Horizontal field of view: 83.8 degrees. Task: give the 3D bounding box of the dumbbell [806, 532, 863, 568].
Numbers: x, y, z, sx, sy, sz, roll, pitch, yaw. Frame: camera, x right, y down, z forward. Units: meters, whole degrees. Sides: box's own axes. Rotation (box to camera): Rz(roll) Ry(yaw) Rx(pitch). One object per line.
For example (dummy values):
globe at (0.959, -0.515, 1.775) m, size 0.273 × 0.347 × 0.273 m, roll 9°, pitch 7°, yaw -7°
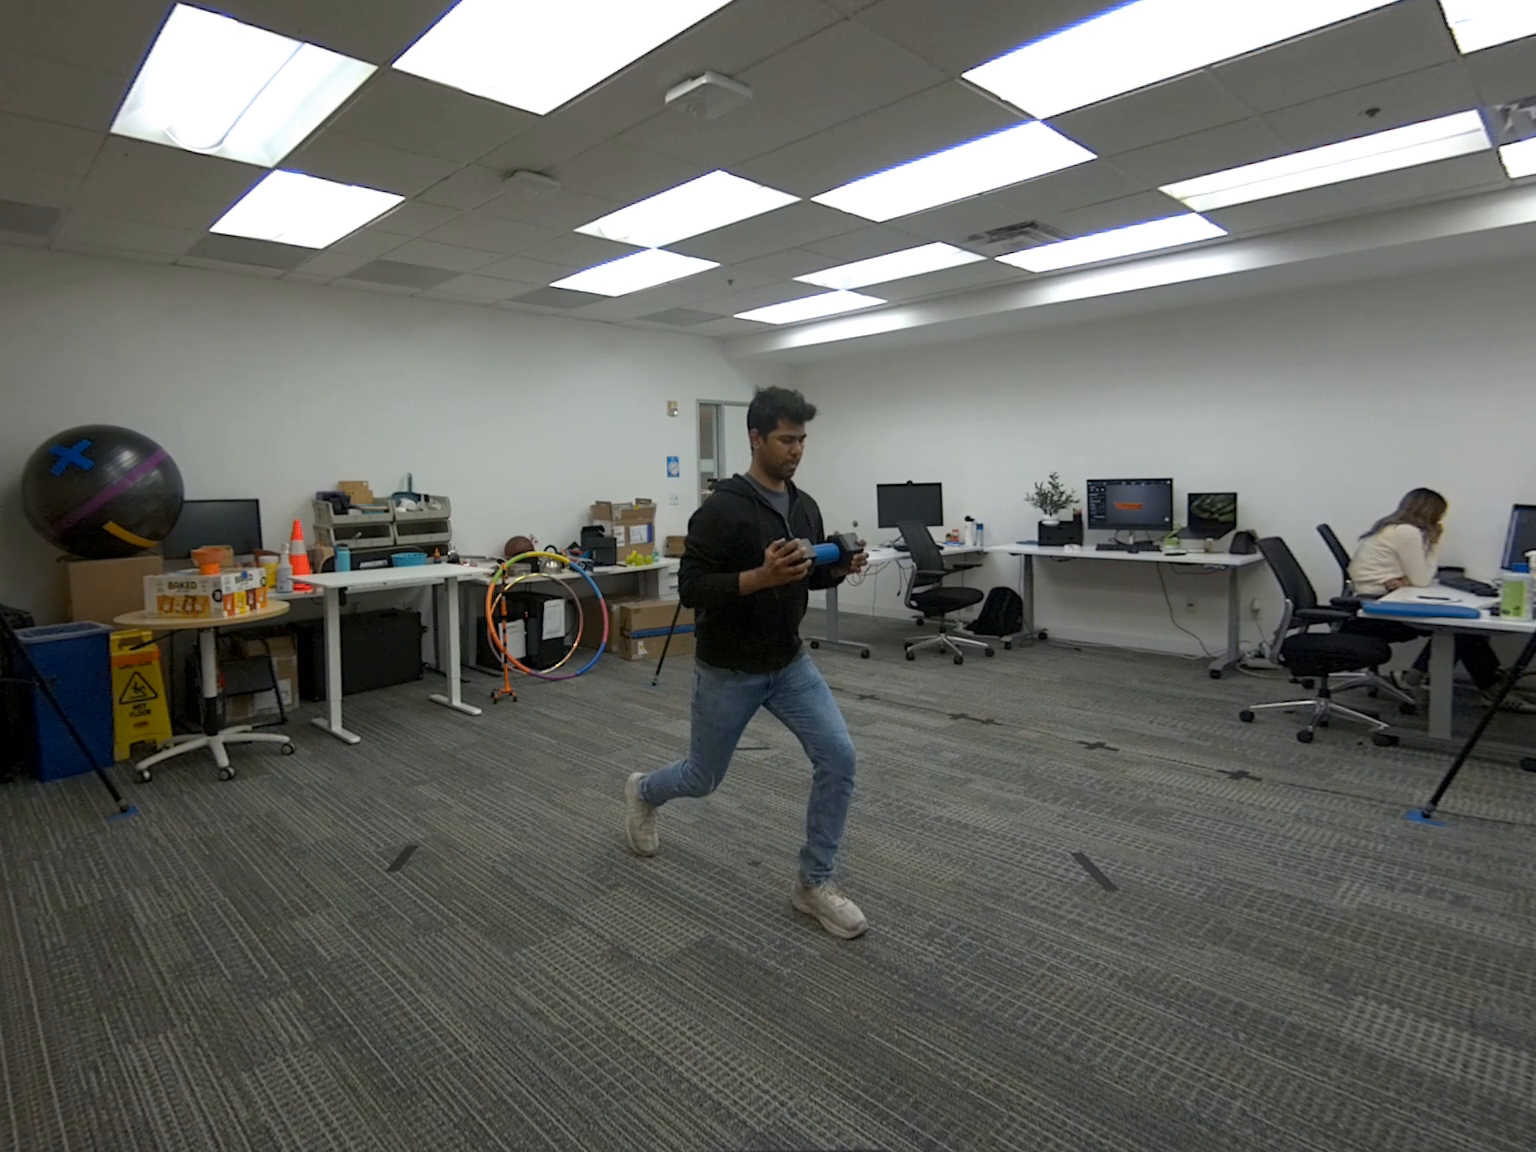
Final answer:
dumbbell at (0.146, -0.052, 2.625) m, size 0.287 × 0.121 × 0.113 m, roll -10°, pitch 36°, yaw -39°
